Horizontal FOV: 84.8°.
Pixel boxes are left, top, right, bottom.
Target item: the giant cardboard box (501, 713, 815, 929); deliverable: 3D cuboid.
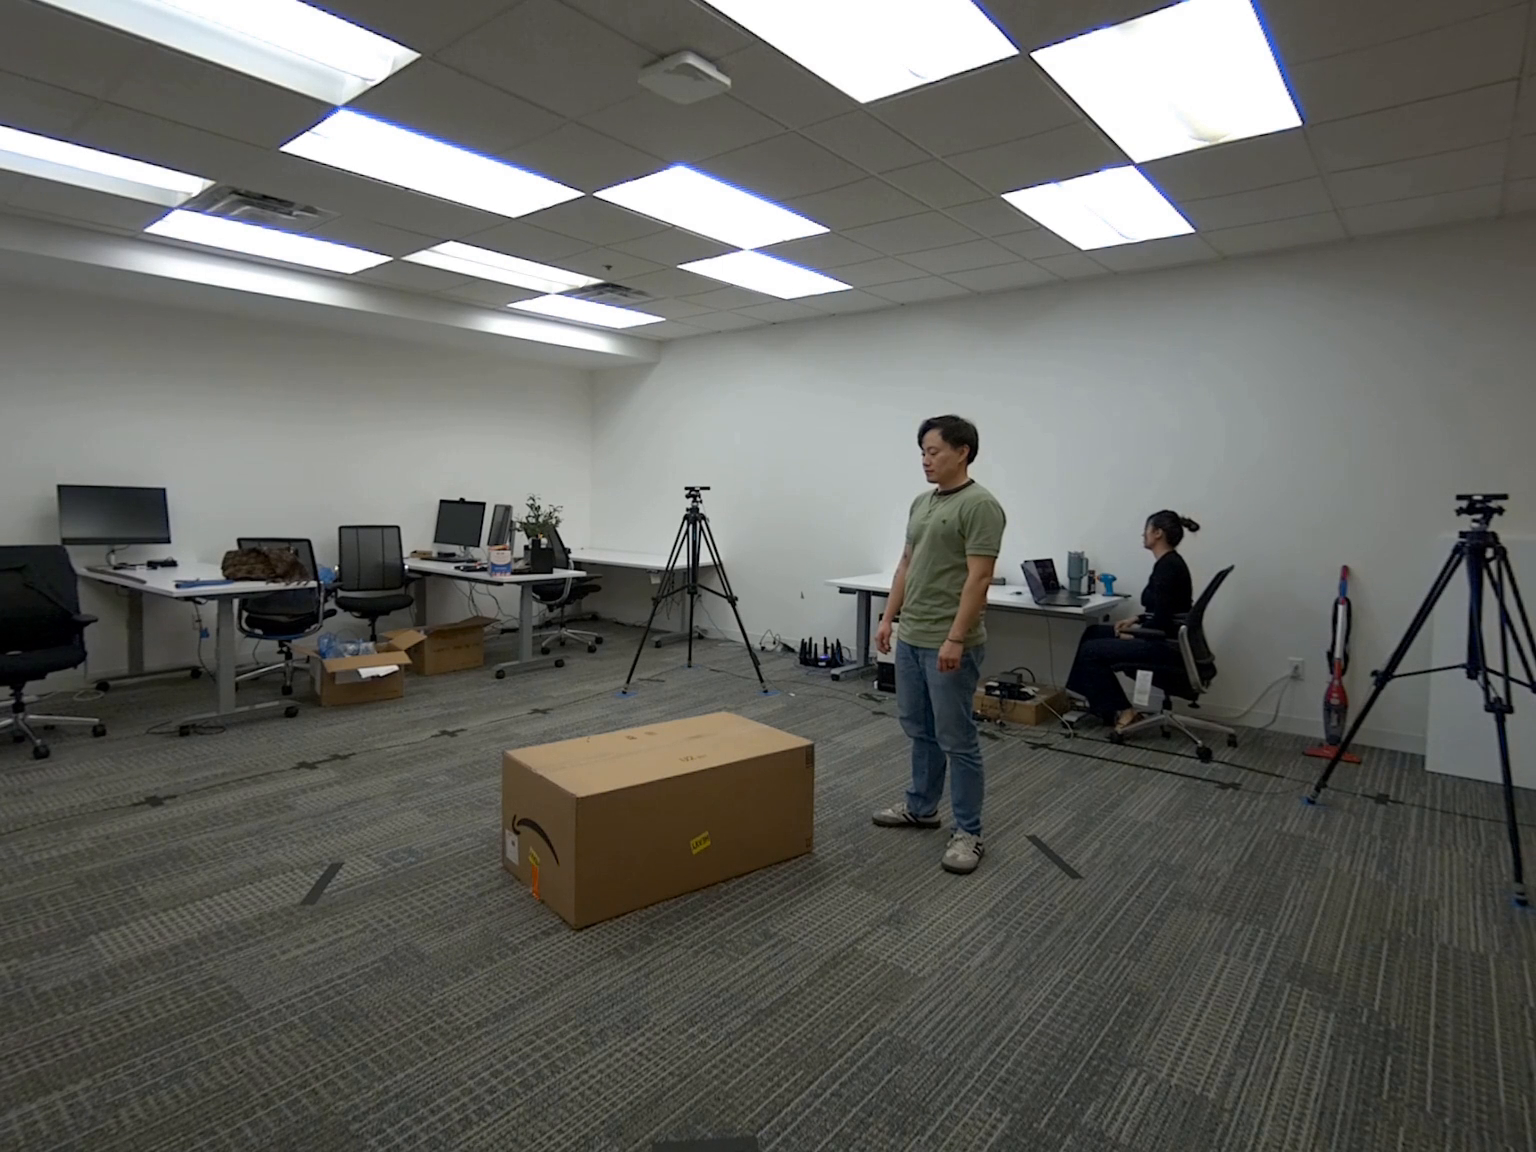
[{"bbox_3d":[-0.404,0.845,3.167,0.996,0.425,0.597,-3,6,-39],"label":"giant cardboard box"}]
